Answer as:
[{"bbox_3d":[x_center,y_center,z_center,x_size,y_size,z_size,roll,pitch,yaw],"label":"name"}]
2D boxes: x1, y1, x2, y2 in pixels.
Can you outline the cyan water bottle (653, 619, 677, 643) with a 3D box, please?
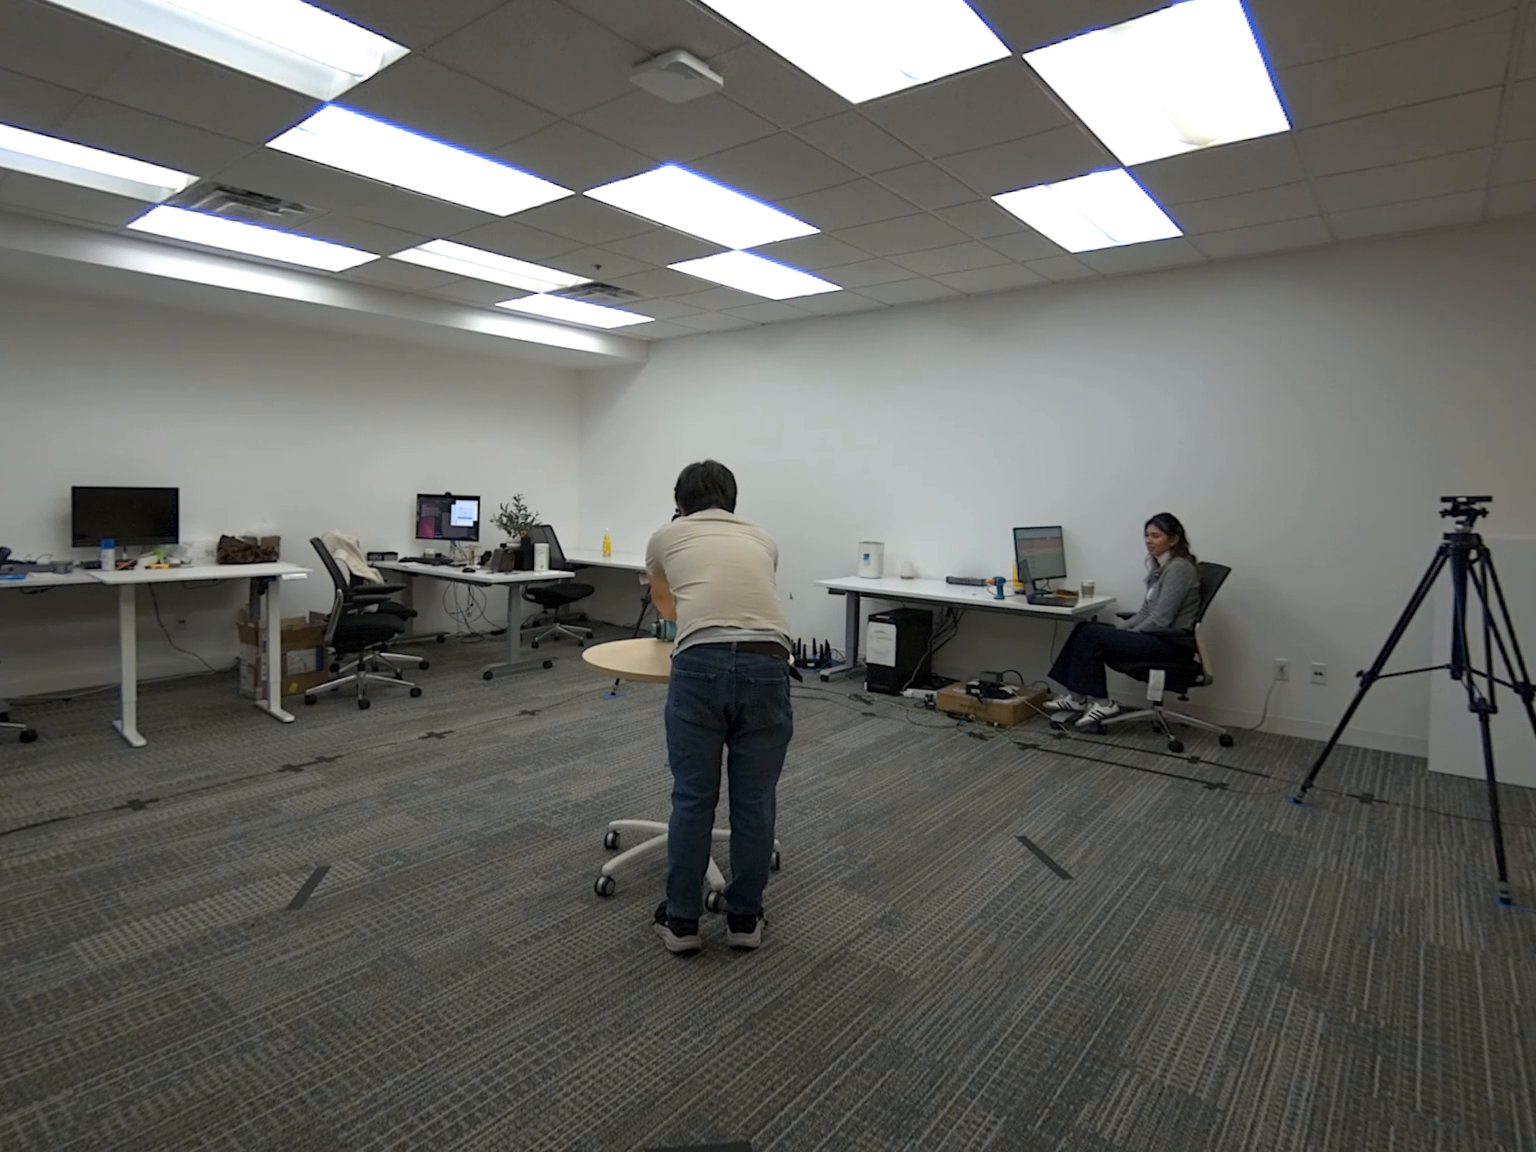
[{"bbox_3d":[-0.334,0.213,3.392,0.281,0.092,0.093,0,4,-7],"label":"cyan water bottle"}]
